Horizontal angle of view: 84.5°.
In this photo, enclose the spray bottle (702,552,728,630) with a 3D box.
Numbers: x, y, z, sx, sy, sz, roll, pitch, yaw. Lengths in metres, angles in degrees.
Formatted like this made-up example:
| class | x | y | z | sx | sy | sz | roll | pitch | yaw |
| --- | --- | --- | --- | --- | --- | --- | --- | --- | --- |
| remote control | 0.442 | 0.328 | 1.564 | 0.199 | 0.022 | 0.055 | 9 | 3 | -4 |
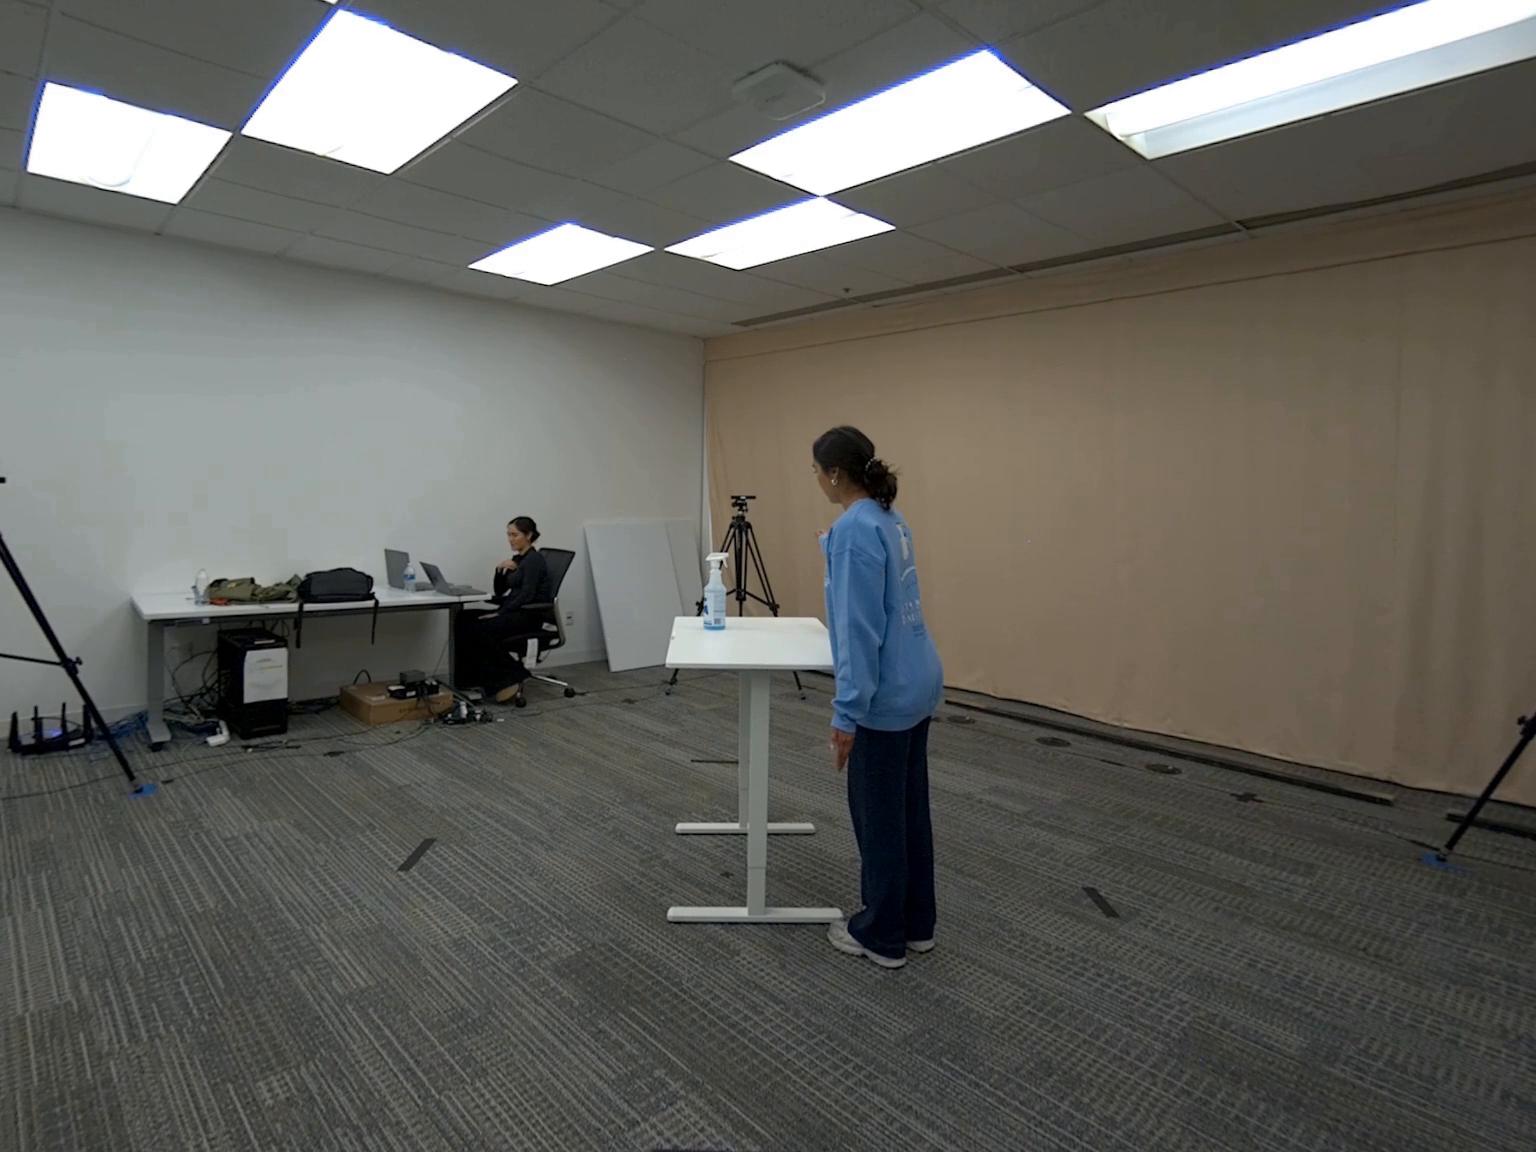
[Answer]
| class | x | y | z | sx | sy | sz | roll | pitch | yaw |
| --- | --- | --- | --- | --- | --- | --- | --- | --- | --- |
| spray bottle | -0.212 | 0.060 | 3.267 | 0.092 | 0.297 | 0.085 | 3 | 3 | 43 |
